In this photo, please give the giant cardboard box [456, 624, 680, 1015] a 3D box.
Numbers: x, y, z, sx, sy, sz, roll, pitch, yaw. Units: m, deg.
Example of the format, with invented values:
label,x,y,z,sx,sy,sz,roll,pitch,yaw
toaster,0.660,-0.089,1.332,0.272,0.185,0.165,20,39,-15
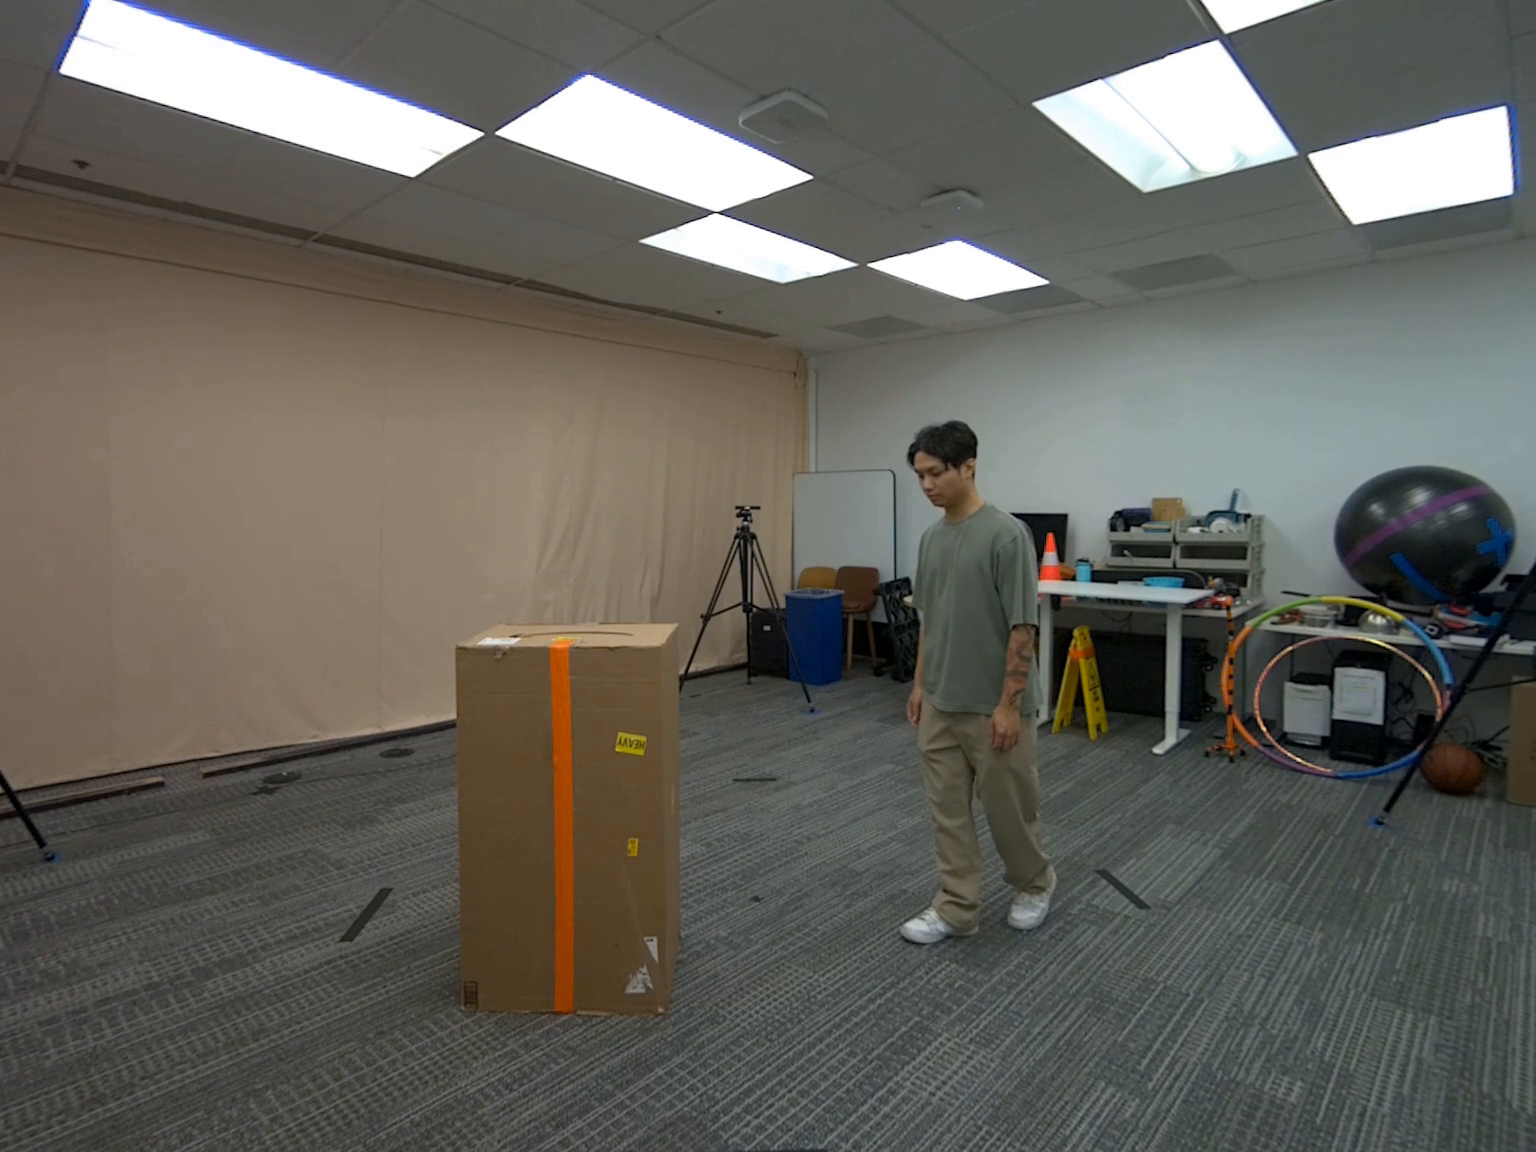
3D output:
label,x,y,z,sx,sy,sz,roll,pitch,yaw
giant cardboard box,-0.569,0.682,2.496,0.579,1.024,0.425,0,2,2
